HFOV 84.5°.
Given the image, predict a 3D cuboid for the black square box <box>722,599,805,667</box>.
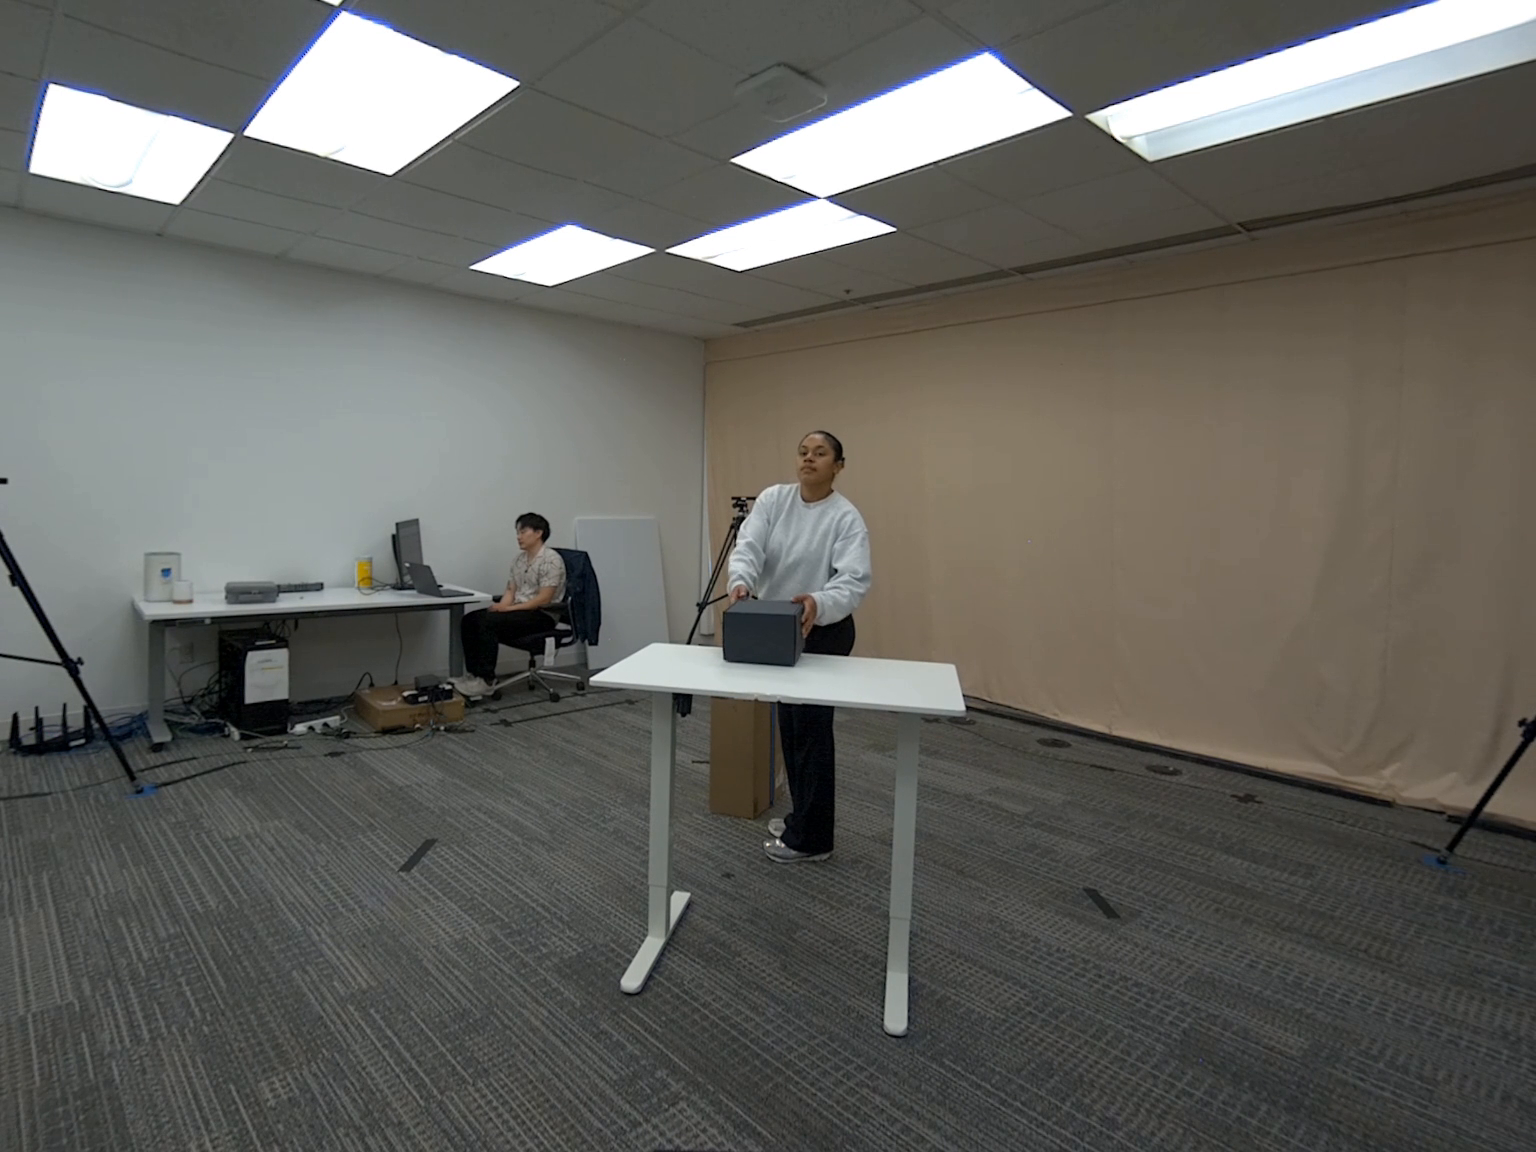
[{"bbox_3d":[-0.026,0.158,2.672,0.231,0.155,0.215,2,7,14],"label":"black square box"}]
